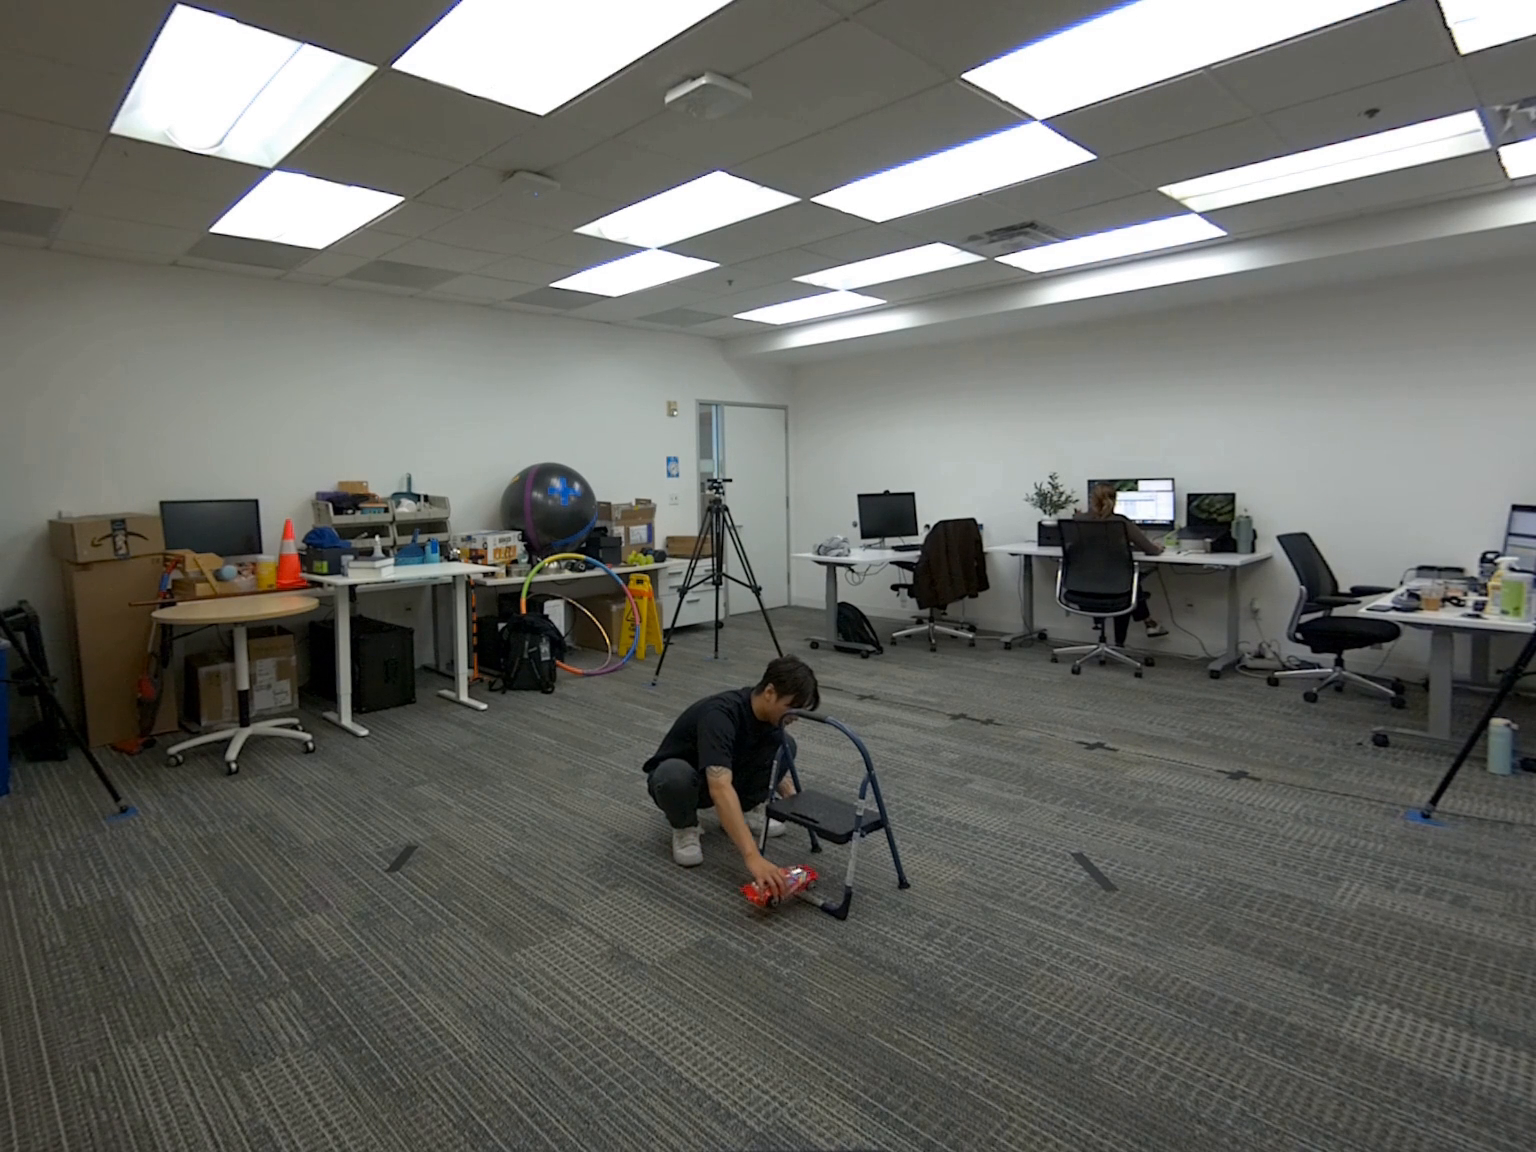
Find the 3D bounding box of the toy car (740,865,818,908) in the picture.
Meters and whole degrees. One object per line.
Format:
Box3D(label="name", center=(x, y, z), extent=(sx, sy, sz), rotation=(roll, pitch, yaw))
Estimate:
Box3D(label="toy car", center=(0.027, 1.011, 2.763), extent=(0.249, 0.083, 0.134), rotation=(-4, 8, -26))
